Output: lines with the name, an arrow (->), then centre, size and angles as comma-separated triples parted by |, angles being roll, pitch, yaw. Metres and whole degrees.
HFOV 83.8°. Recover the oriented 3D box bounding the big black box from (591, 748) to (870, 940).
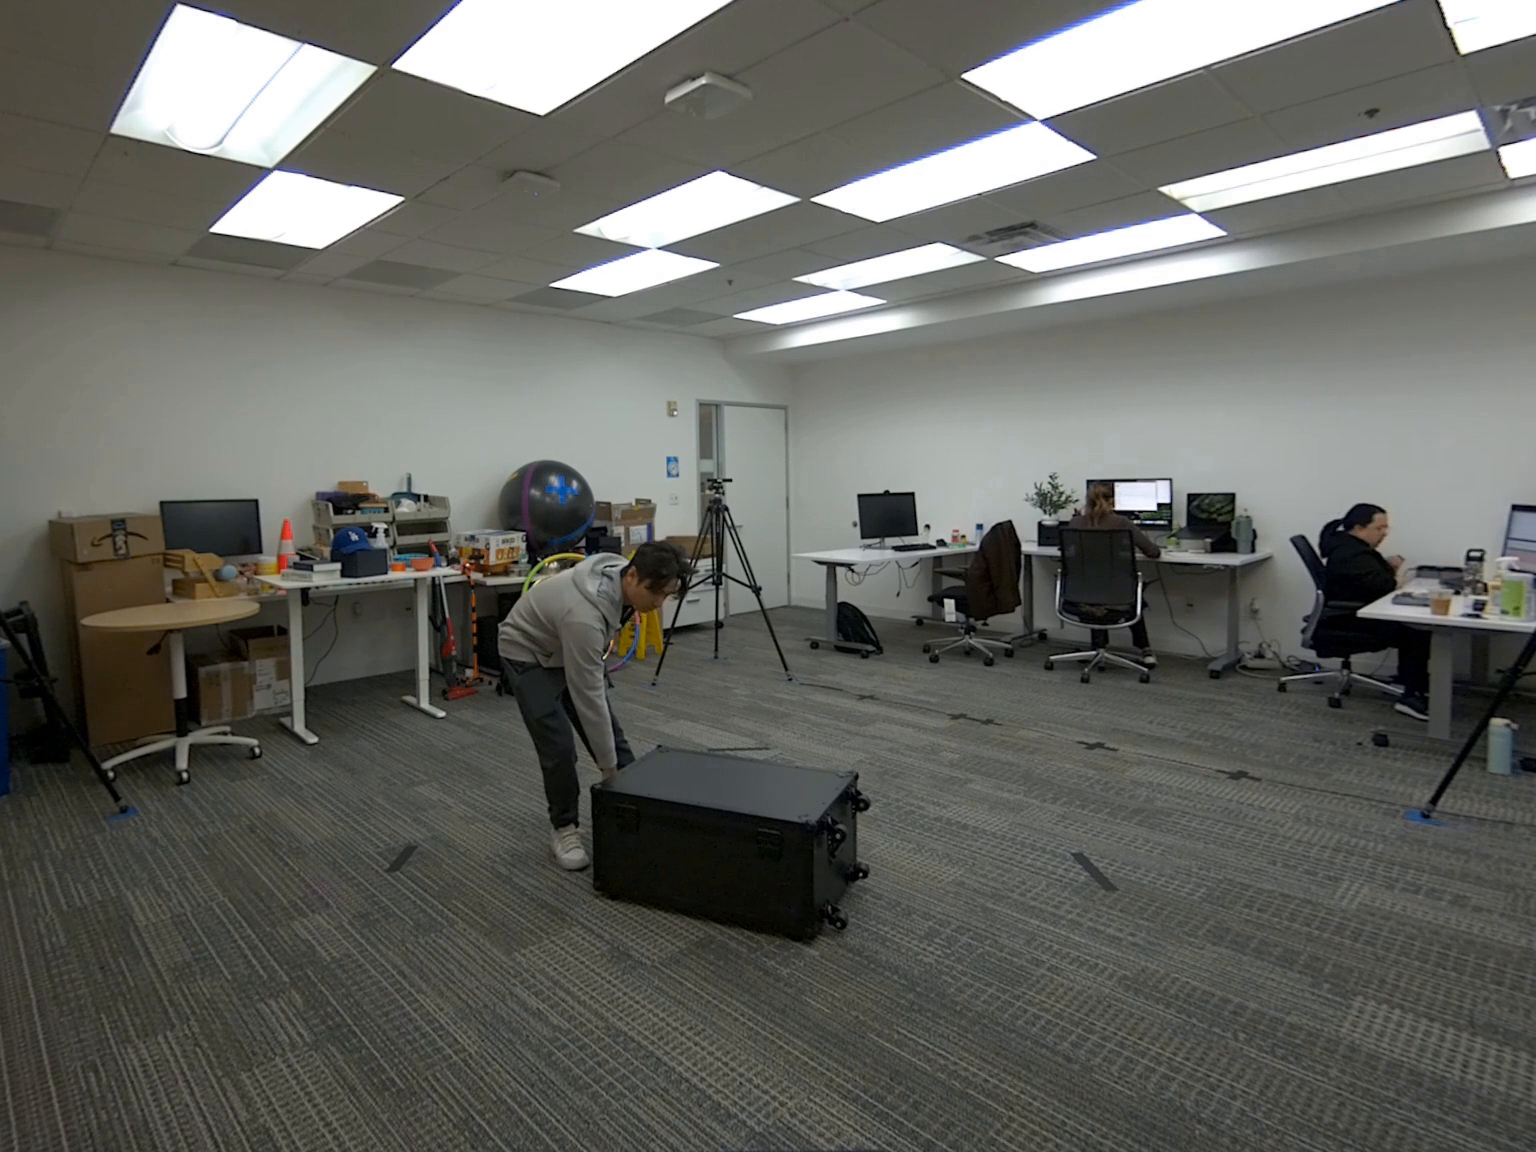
big black box -> -0.163, 0.877, 2.929 | 0.881, 0.395, 0.512 | 3, 6, 24
